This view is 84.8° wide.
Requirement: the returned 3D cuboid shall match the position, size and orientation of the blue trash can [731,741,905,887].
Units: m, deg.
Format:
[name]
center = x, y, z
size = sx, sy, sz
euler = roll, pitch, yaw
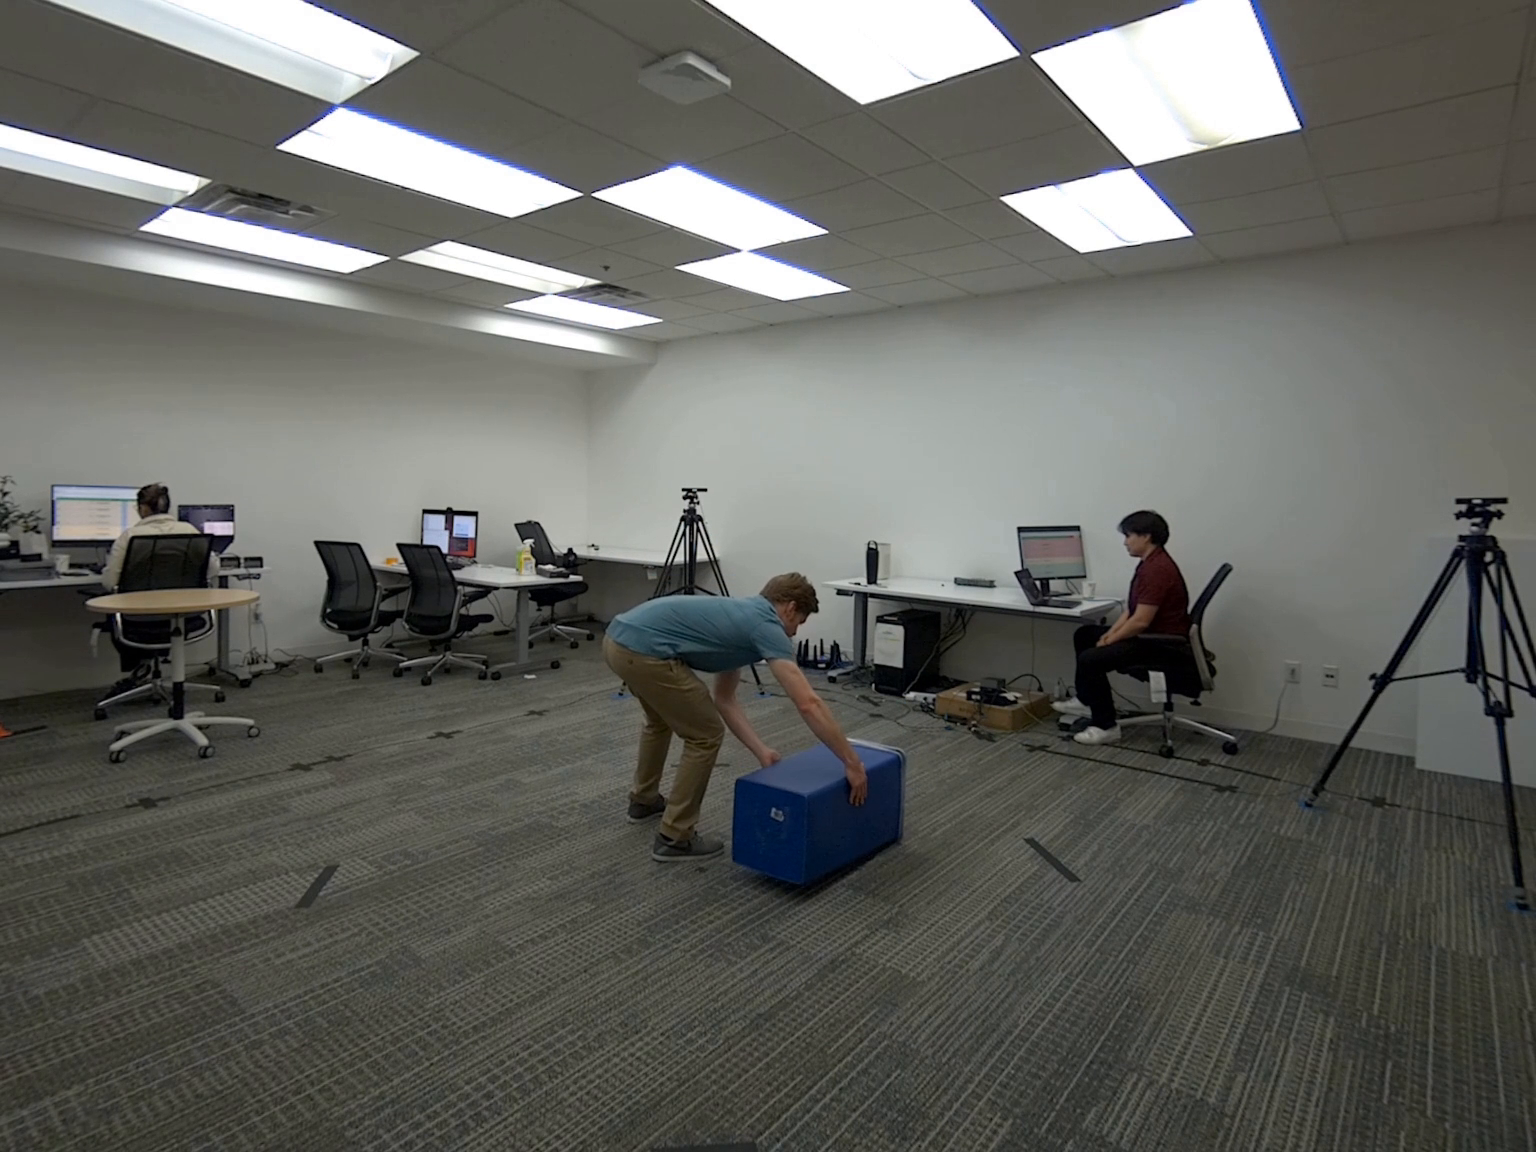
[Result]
[blue trash can]
center = 0.194, 0.873, 3.204
size = 0.386, 0.377, 0.693
euler = 3, 3, 34
